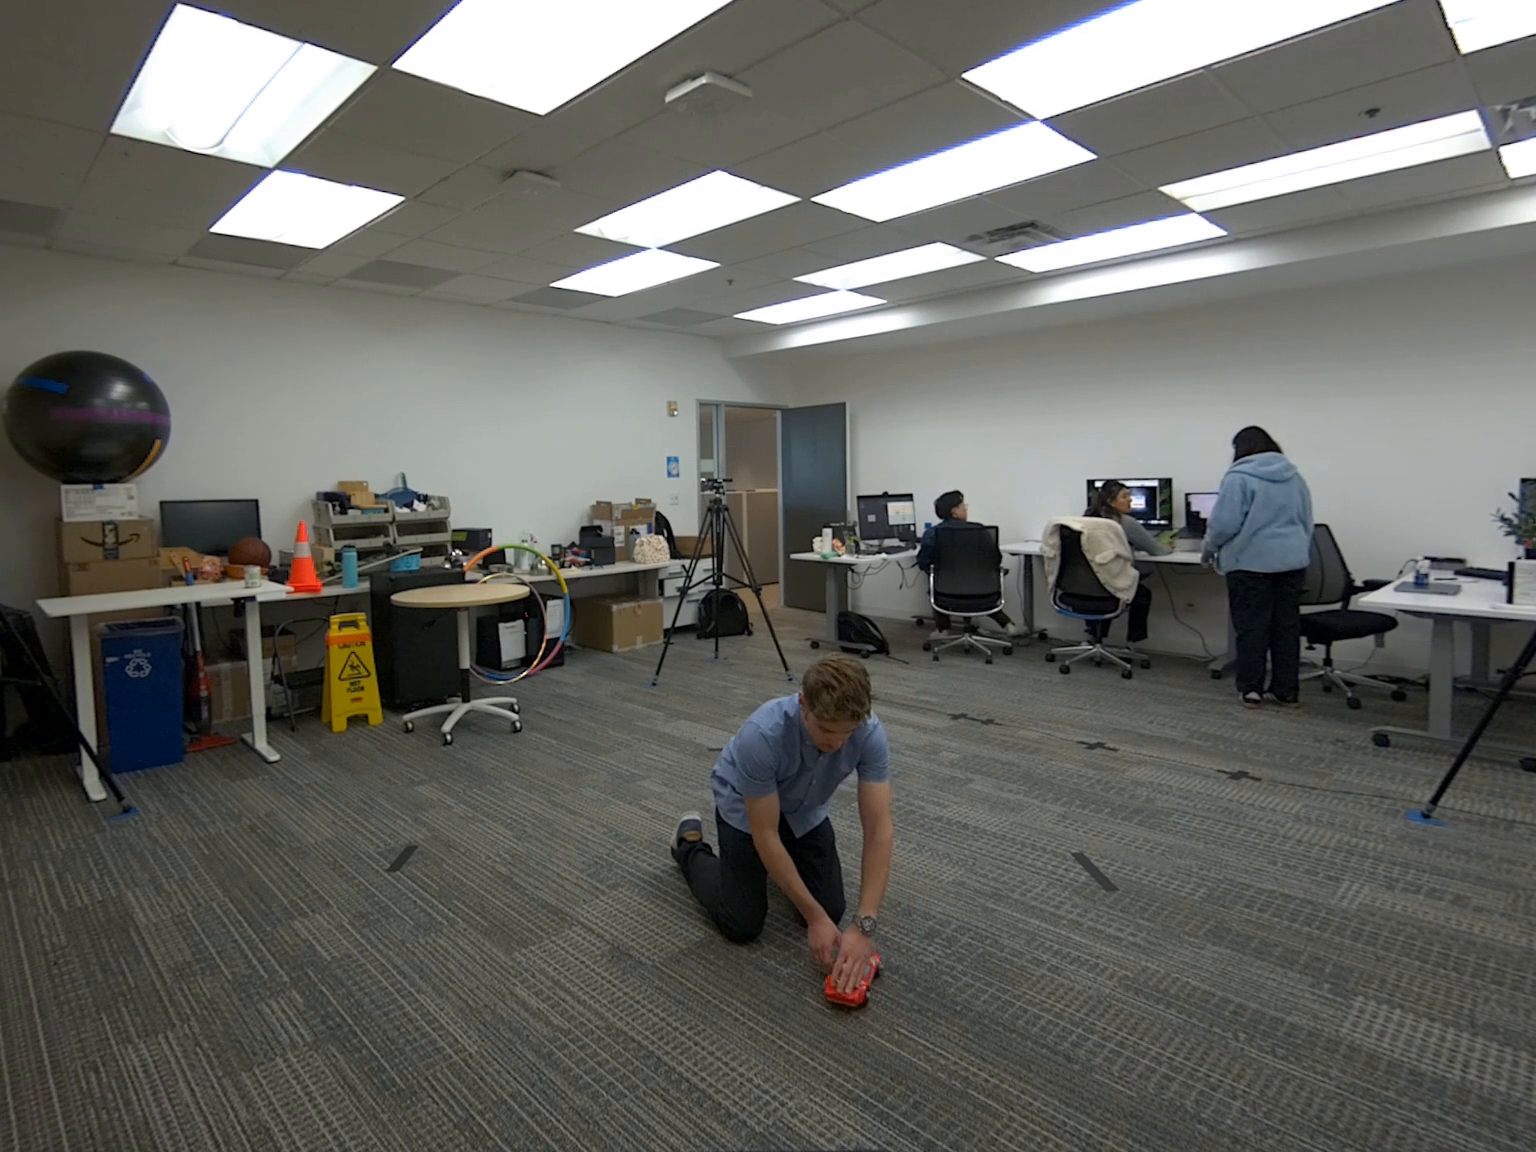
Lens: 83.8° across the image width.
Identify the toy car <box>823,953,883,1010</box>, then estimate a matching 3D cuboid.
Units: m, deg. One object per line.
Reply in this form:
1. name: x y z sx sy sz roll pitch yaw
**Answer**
1. toy car: 0.239 1.105 2.326 0.133 0.083 0.249 5 -2 20
